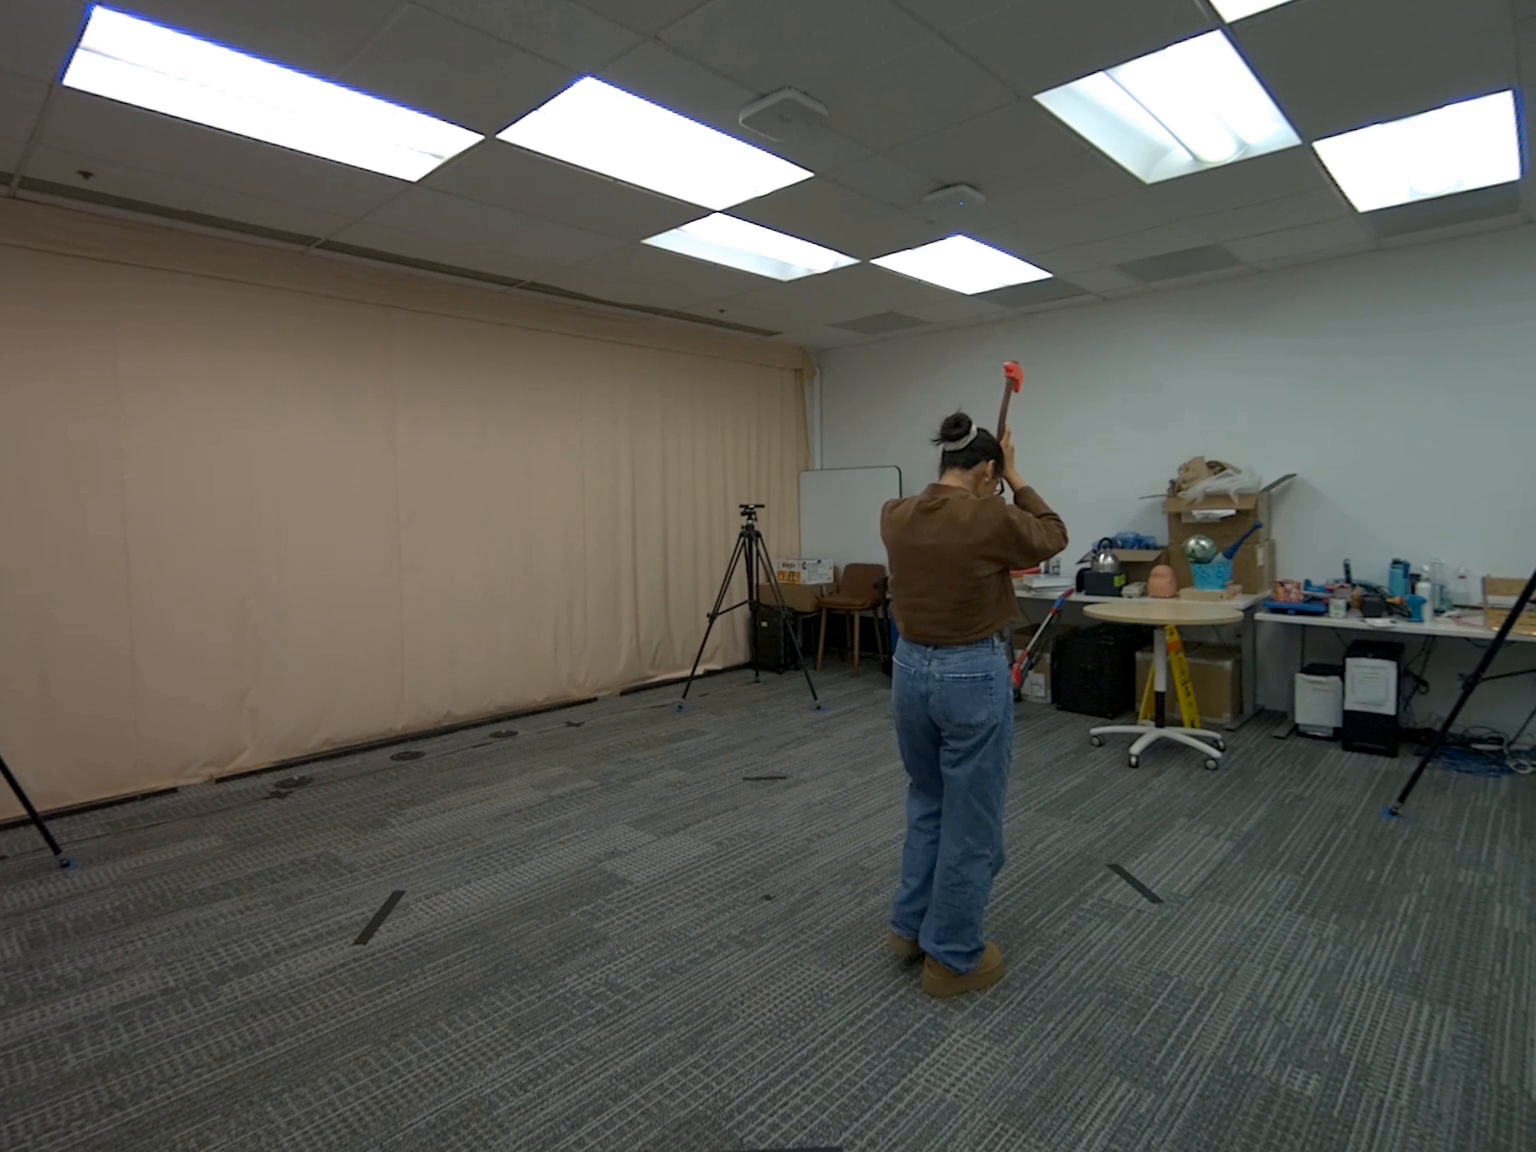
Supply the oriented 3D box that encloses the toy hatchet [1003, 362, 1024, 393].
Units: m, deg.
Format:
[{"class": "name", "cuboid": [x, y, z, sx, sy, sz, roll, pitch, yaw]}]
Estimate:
[{"class": "toy hatchet", "cuboid": [0.731, -0.507, 2.516, 0.030, 0.268, 0.127, 13, 19, 41]}]
